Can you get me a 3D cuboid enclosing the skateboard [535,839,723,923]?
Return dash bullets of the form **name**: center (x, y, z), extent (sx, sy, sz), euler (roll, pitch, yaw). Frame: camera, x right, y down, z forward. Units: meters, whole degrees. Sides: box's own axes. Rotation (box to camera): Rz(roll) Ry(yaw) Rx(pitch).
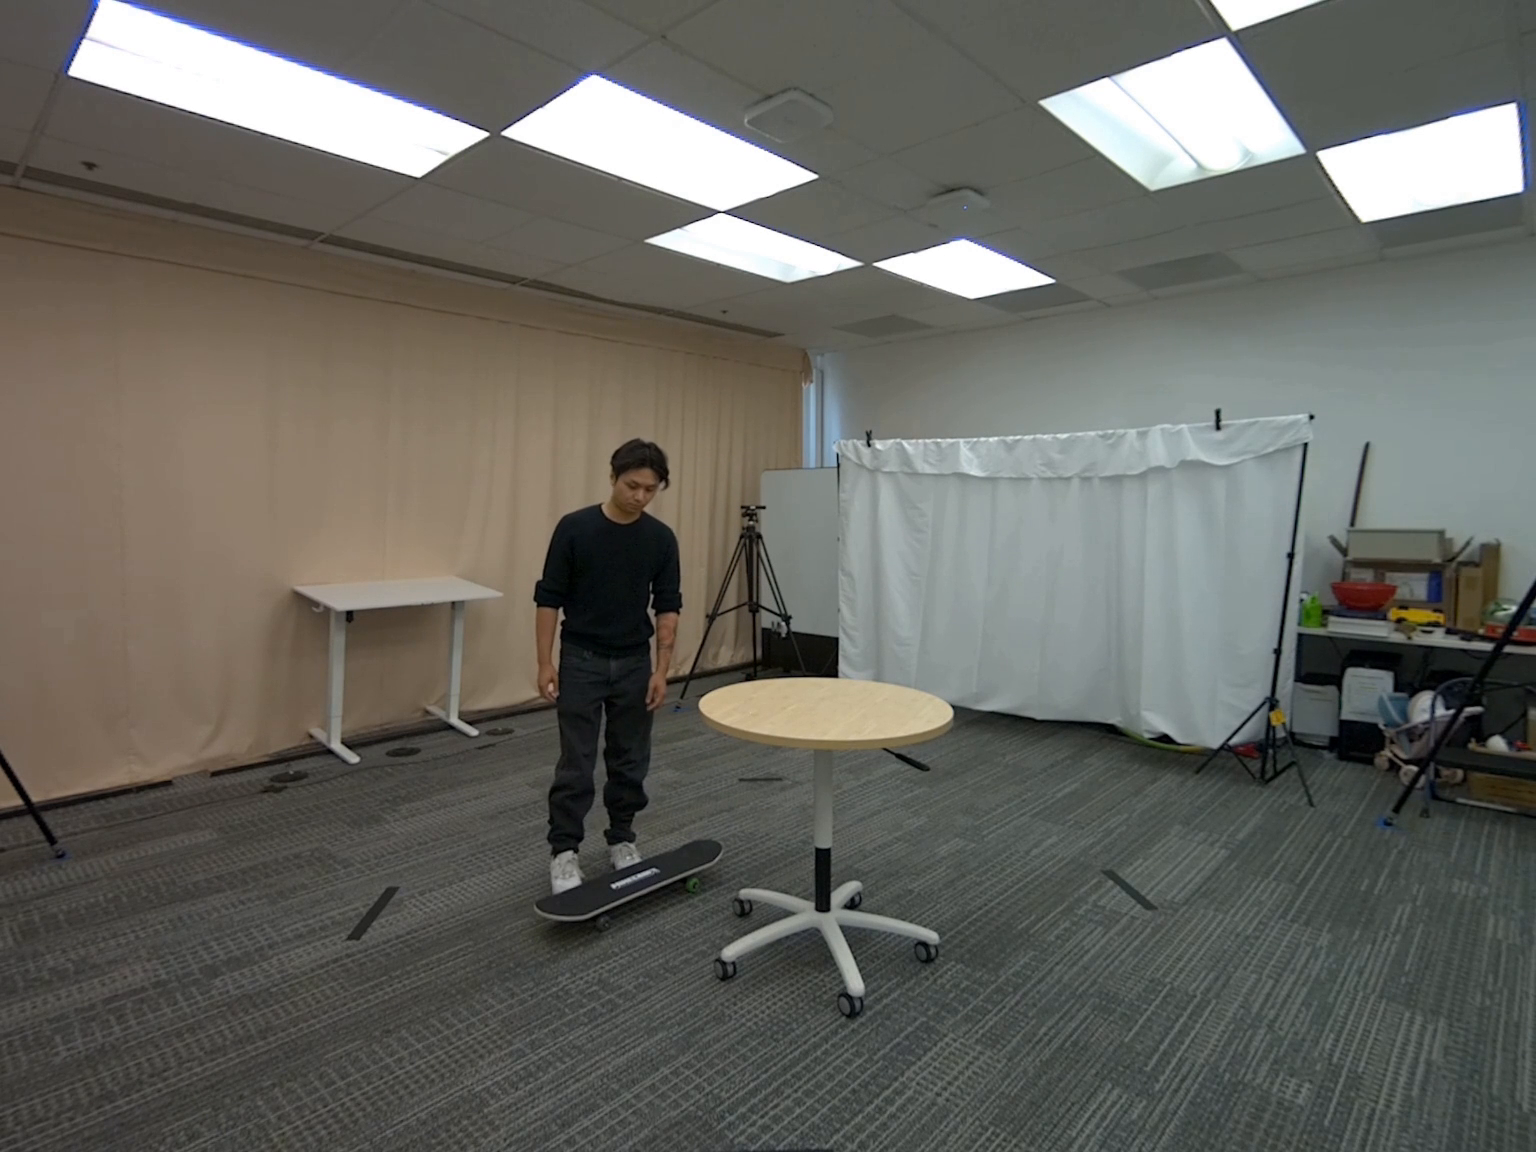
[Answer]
- **skateboard**: center (-0.469, 1.096, 2.952), extent (0.761, 0.110, 0.200), euler (-5, 6, -45)
